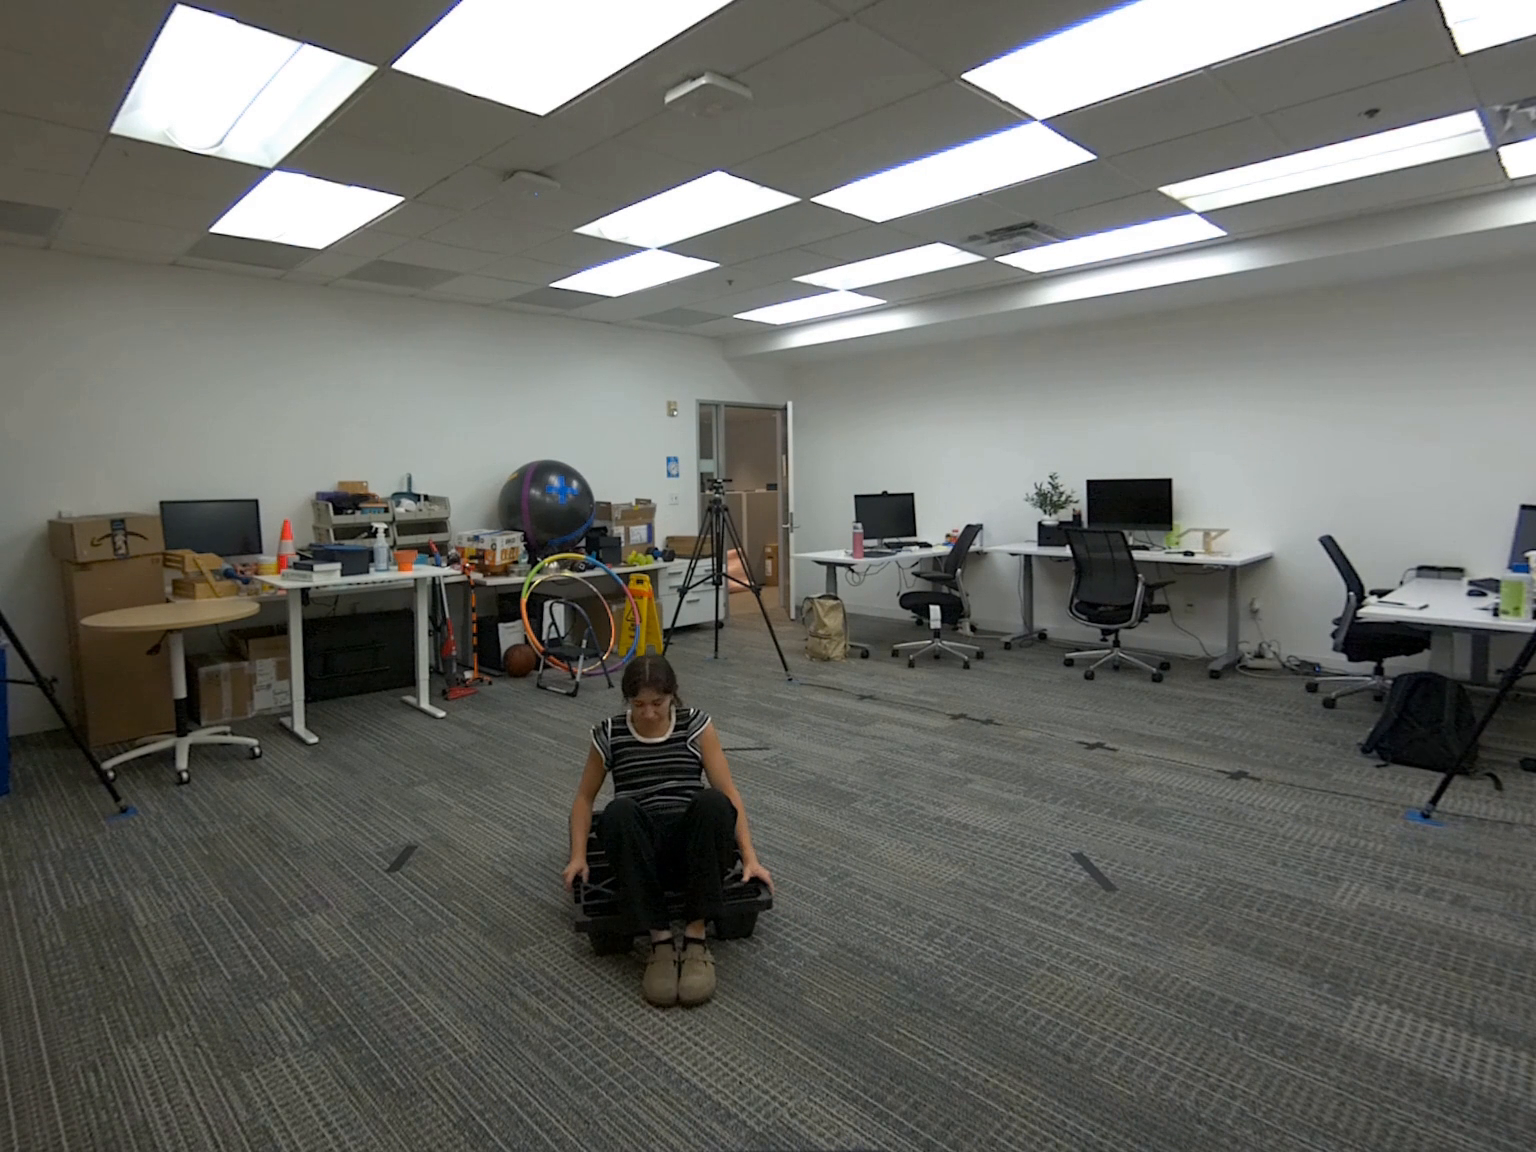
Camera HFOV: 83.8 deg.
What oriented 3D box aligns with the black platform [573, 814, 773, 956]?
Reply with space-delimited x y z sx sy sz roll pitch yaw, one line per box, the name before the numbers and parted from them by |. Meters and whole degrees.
black platform | -0.365 1.006 2.916 0.598 0.142 0.819 -4 8 -13
